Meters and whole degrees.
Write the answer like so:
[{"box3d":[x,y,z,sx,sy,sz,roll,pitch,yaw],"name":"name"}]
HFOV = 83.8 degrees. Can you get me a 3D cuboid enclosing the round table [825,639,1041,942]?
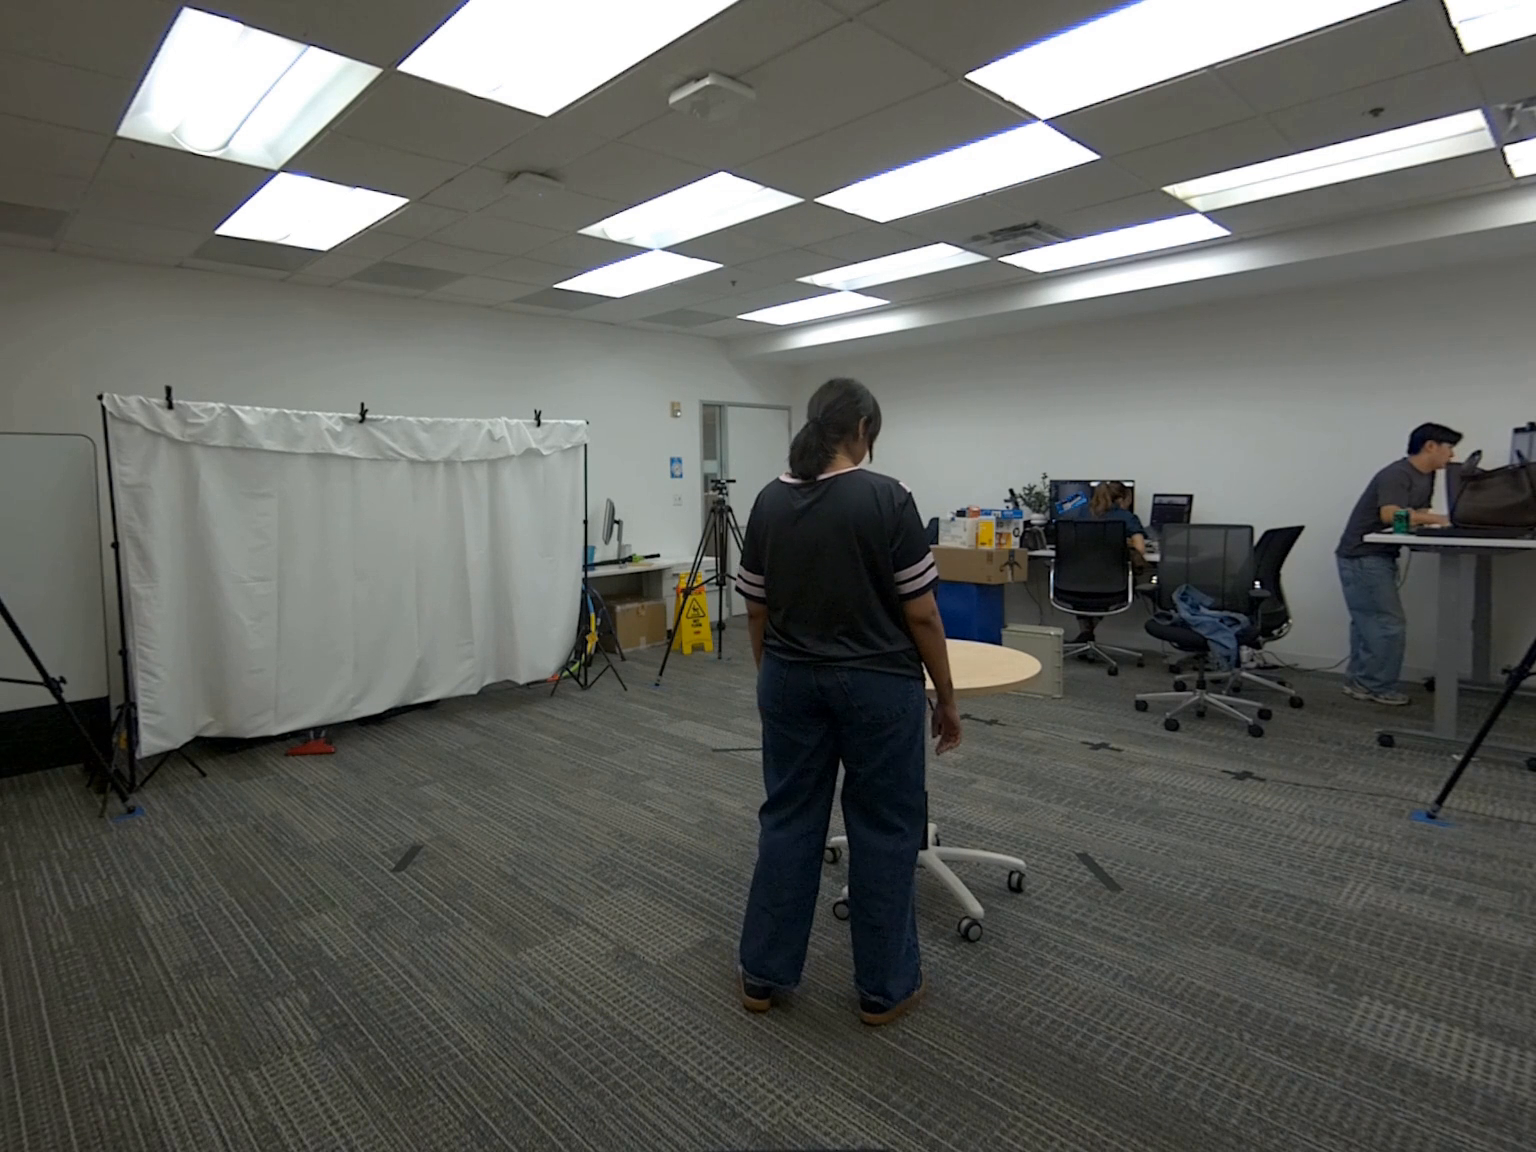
[{"box3d":[0.521,0.675,2.881,0.763,0.791,0.768,-1,5,-2],"name":"round table"}]
